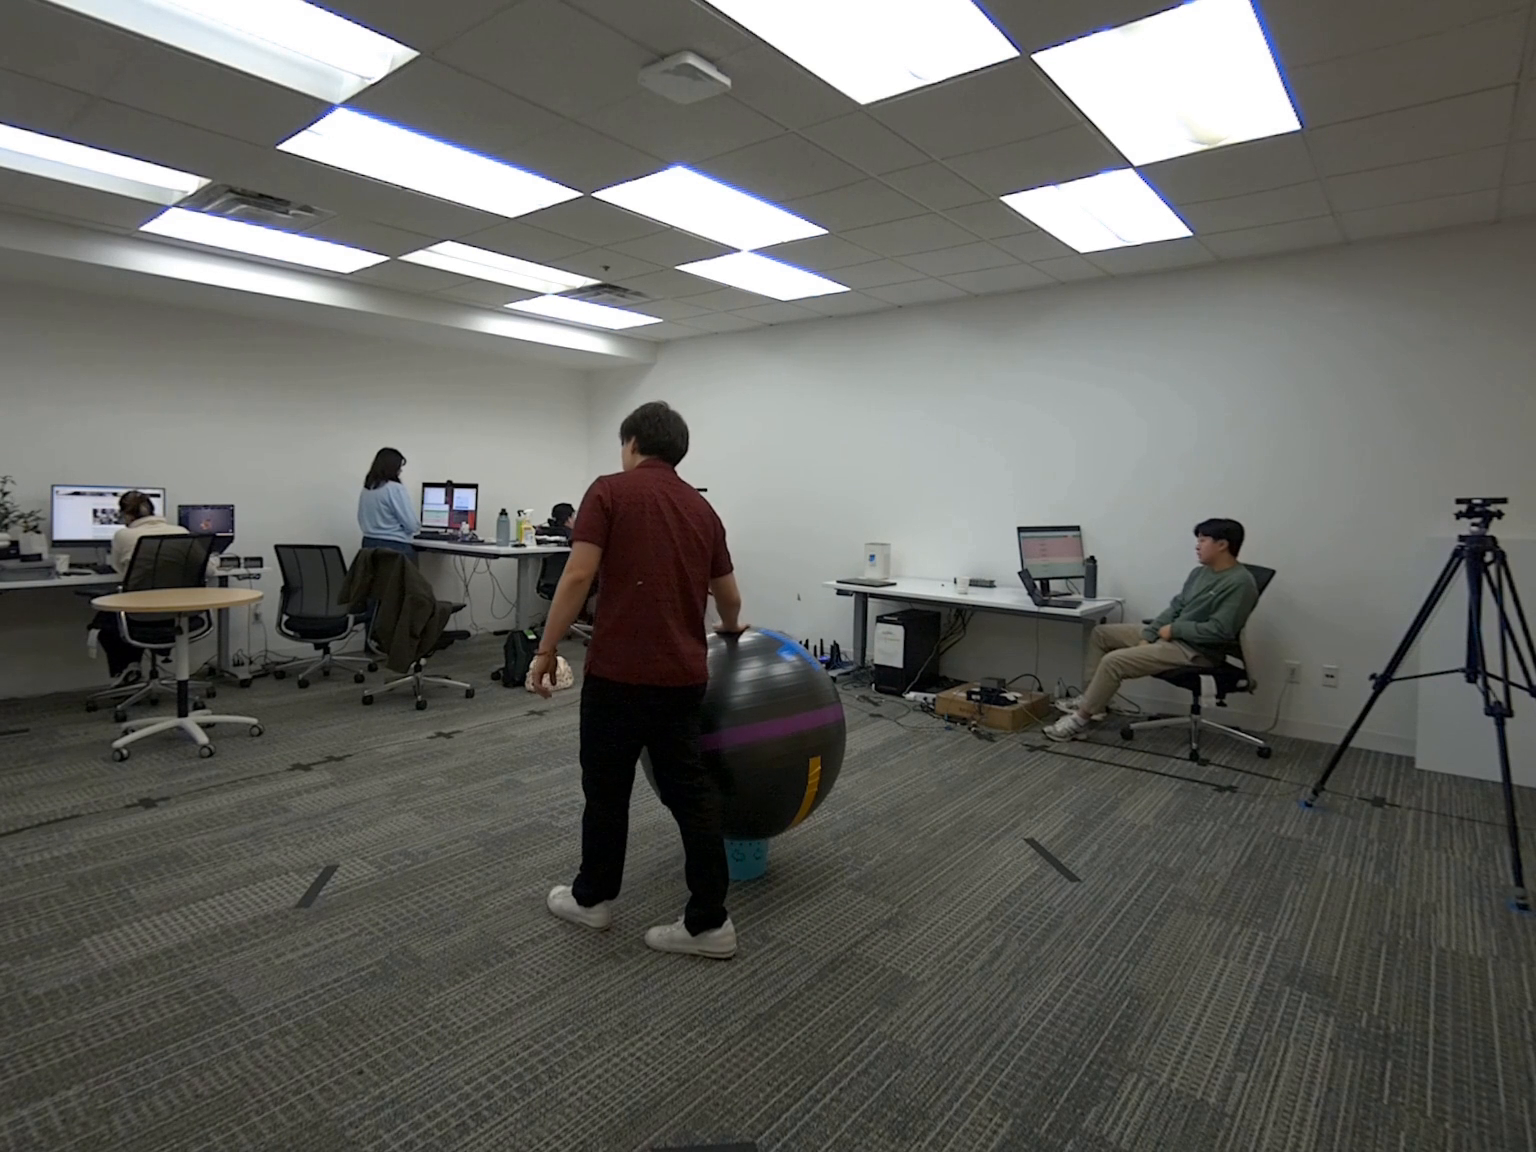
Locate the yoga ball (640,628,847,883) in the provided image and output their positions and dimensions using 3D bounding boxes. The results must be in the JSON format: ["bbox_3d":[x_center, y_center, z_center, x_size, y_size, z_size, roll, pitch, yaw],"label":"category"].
[{"bbox_3d":[-0.113,0.563,3.105,0.757,0.755,0.762,1,4,-2],"label":"yoga ball"}]
